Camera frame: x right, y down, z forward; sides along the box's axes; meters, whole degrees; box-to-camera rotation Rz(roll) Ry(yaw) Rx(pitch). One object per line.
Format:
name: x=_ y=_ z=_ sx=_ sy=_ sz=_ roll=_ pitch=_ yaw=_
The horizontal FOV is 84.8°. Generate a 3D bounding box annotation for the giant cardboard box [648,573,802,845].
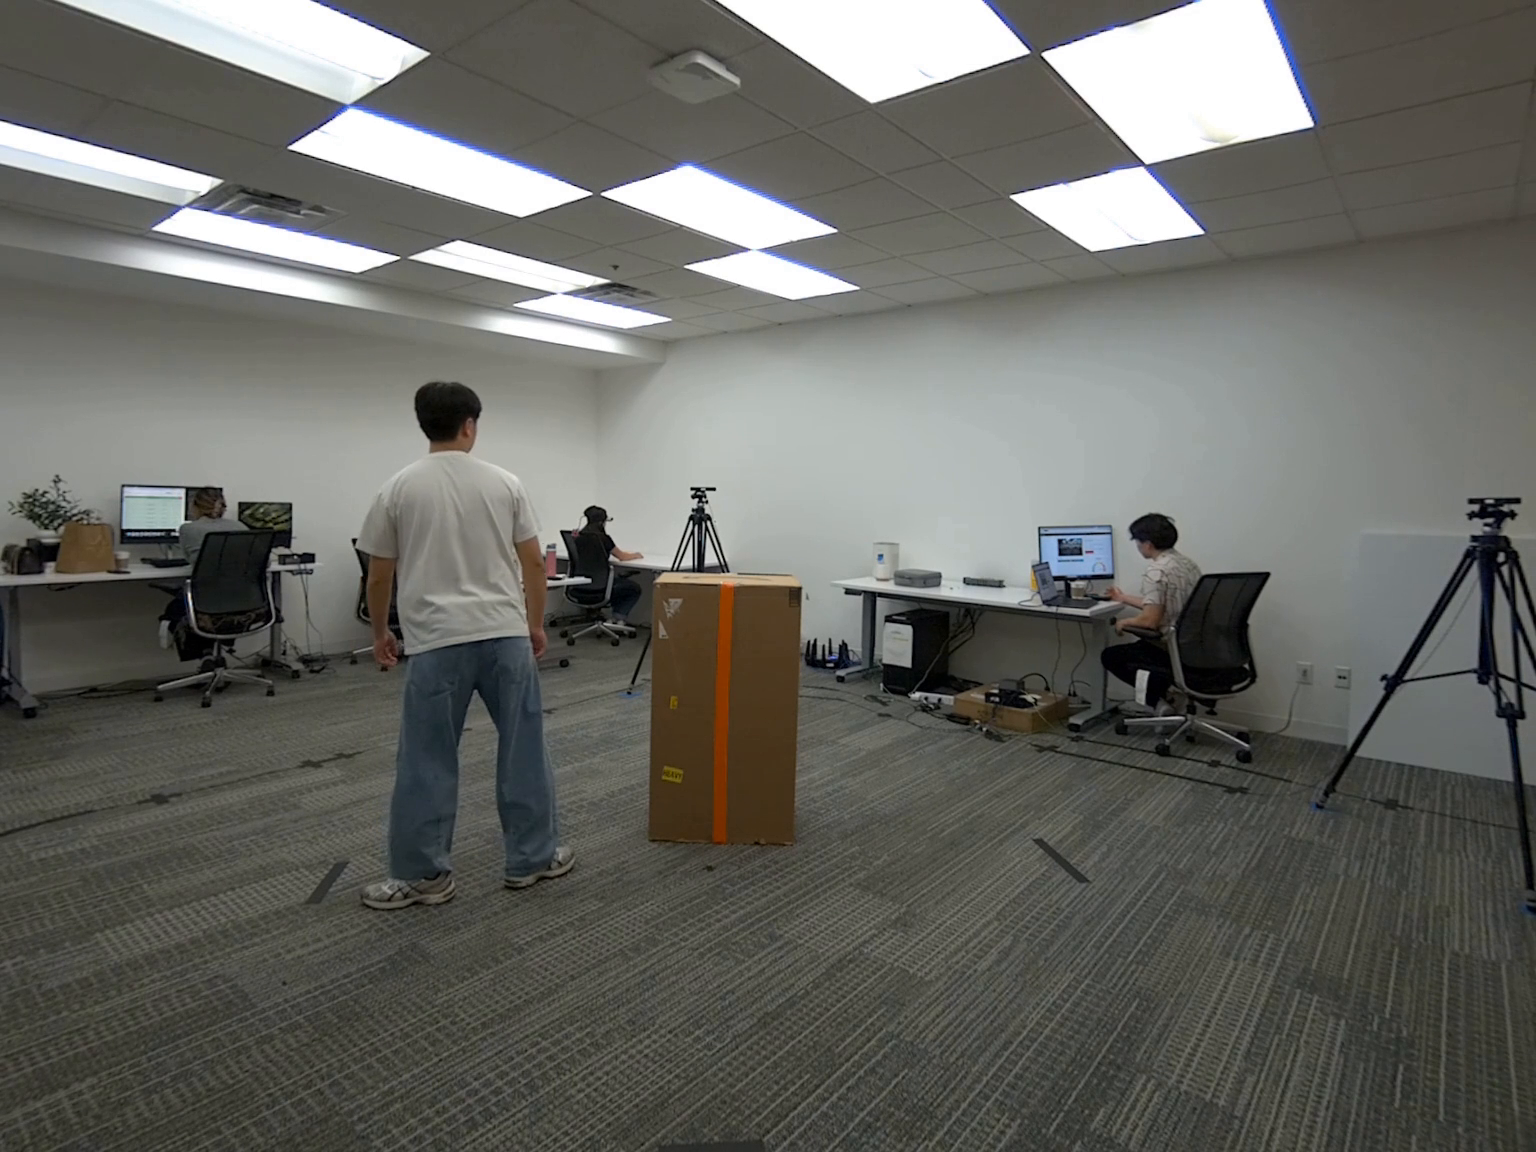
giant cardboard box: x=-0.188 y=0.516 z=3.522 sx=0.579 sy=1.023 sz=0.426 roll=1 pitch=3 yaw=1
